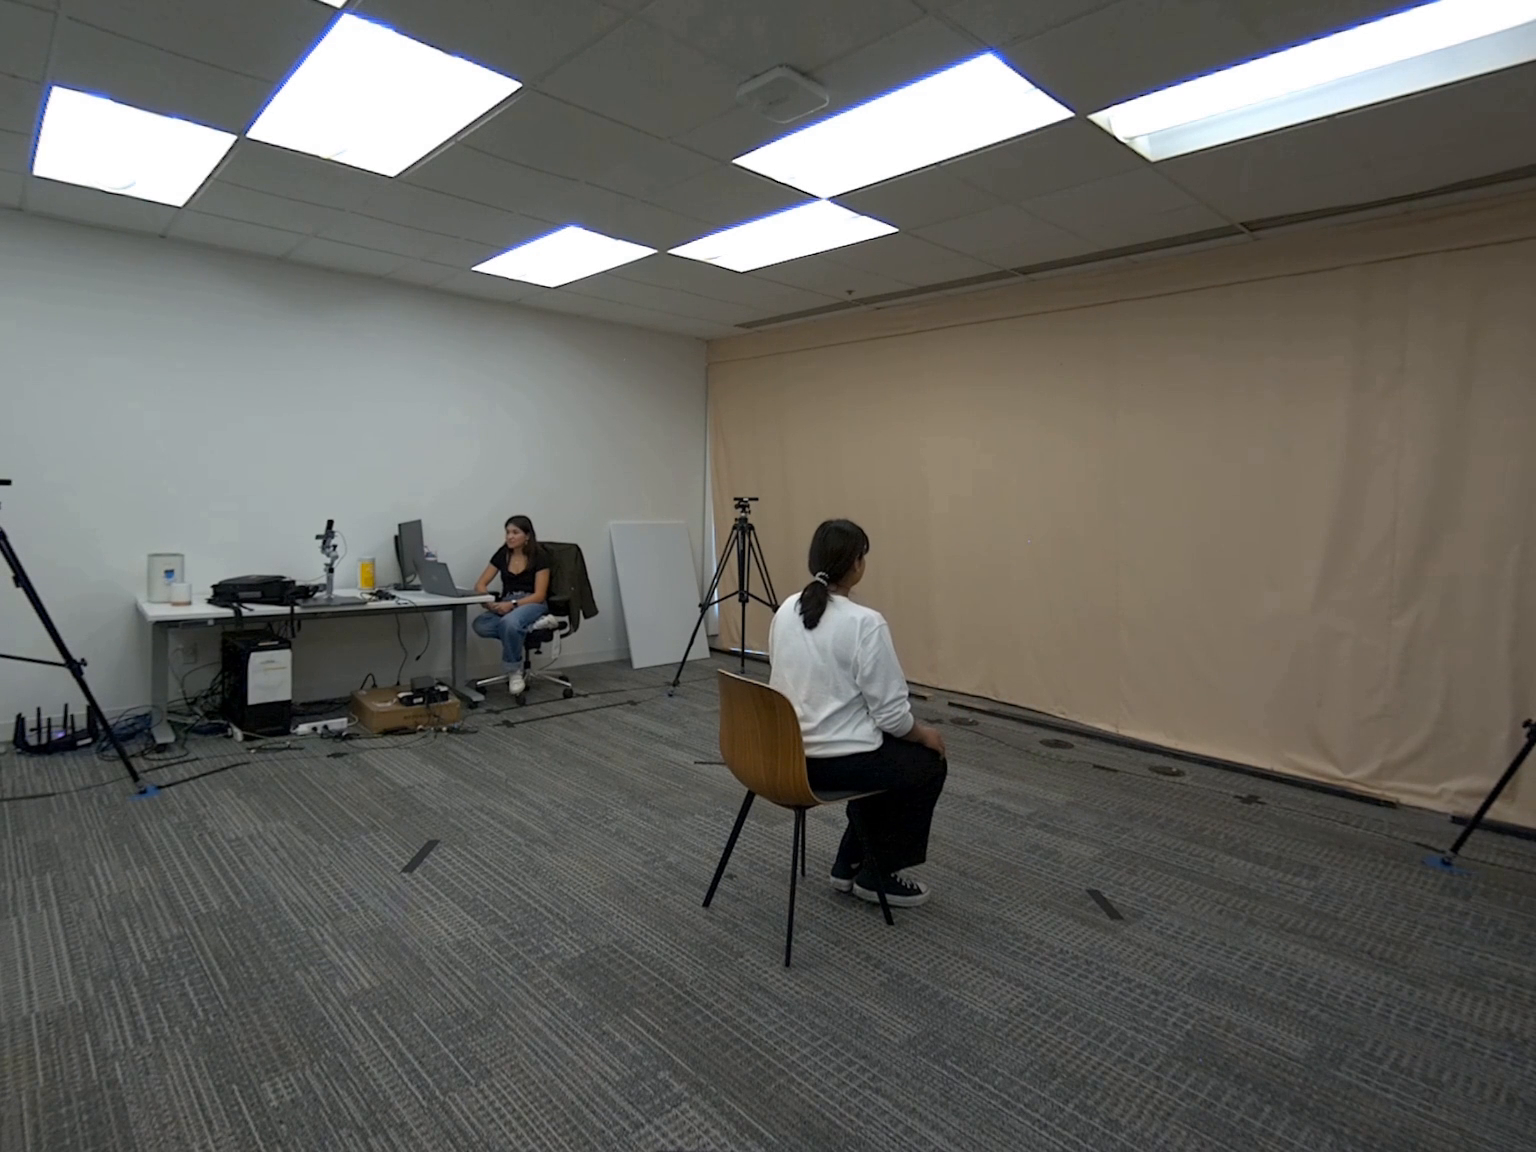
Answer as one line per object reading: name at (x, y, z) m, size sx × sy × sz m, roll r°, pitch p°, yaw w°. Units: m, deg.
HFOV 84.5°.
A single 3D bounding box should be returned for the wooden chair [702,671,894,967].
wooden chair at (0.105, 0.712, 2.801) m, size 0.512 × 0.873 × 0.490 m, roll -6°, pitch 7°, yaw -37°
